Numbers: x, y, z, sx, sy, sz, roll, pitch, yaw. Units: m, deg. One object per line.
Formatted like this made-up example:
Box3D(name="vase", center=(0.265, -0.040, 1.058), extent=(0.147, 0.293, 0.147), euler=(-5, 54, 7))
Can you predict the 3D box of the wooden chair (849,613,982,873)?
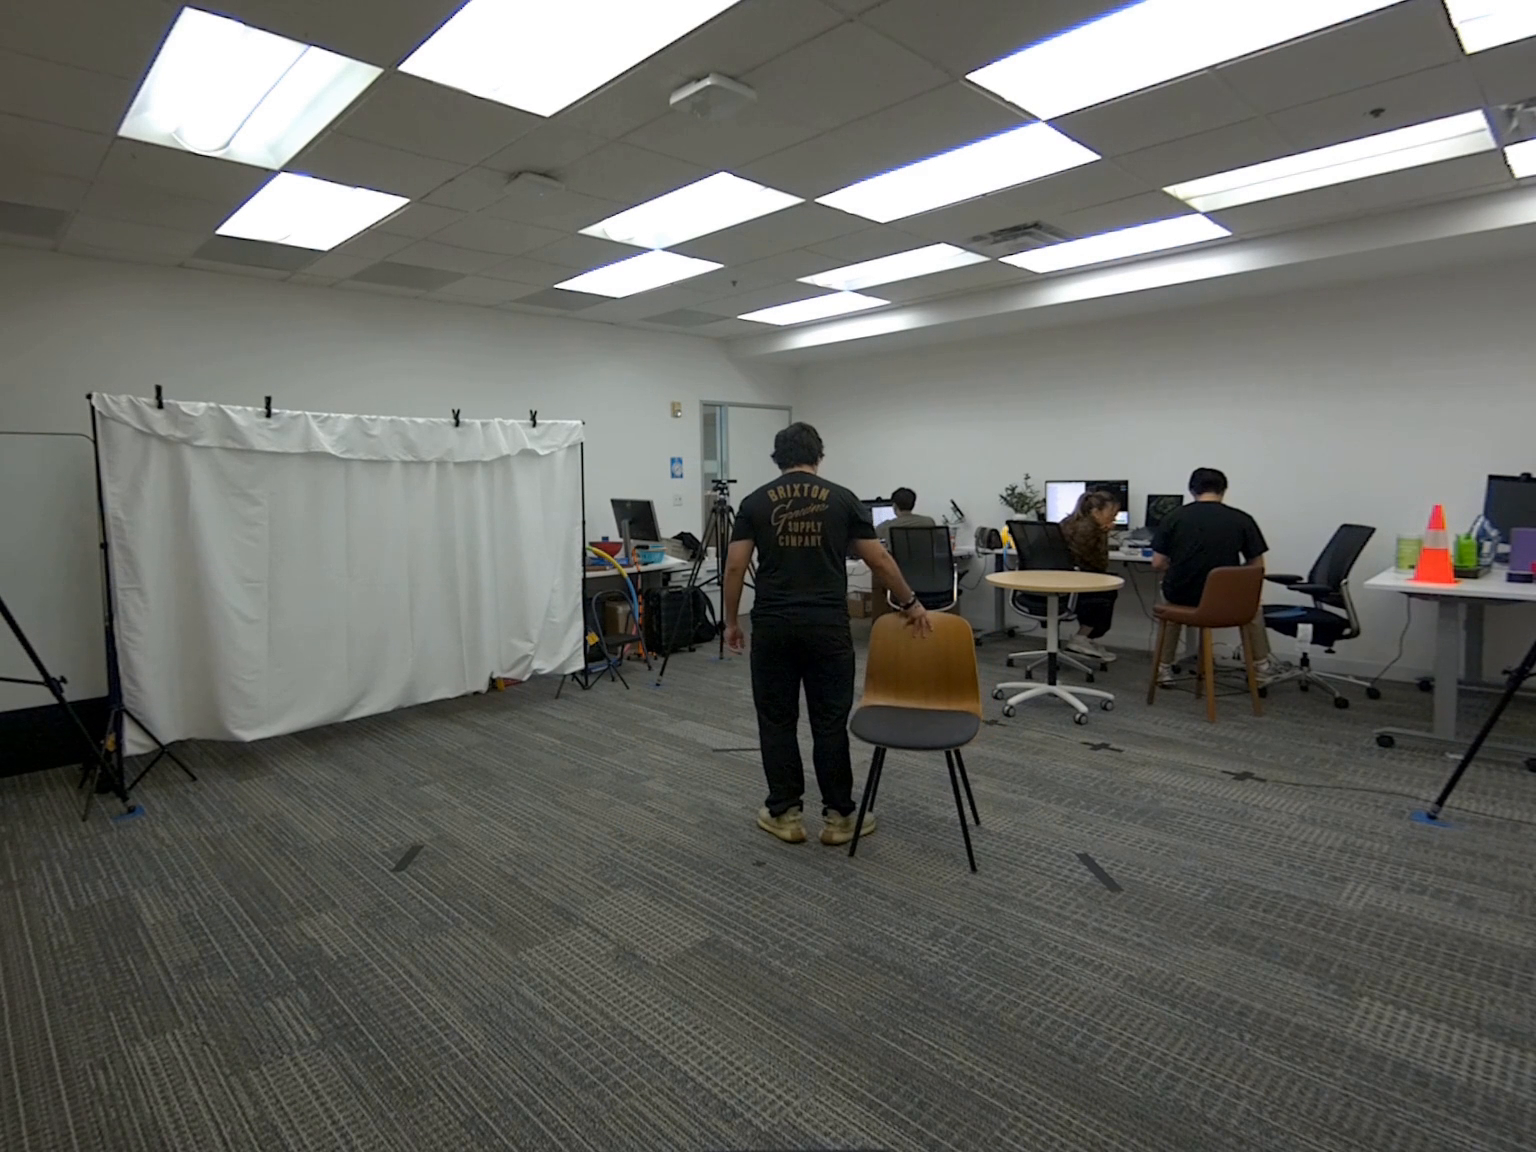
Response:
Box3D(name="wooden chair", center=(0.567, 0.593, 3.246), extent=(0.486, 0.877, 0.514), euler=(1, 0, 17))
